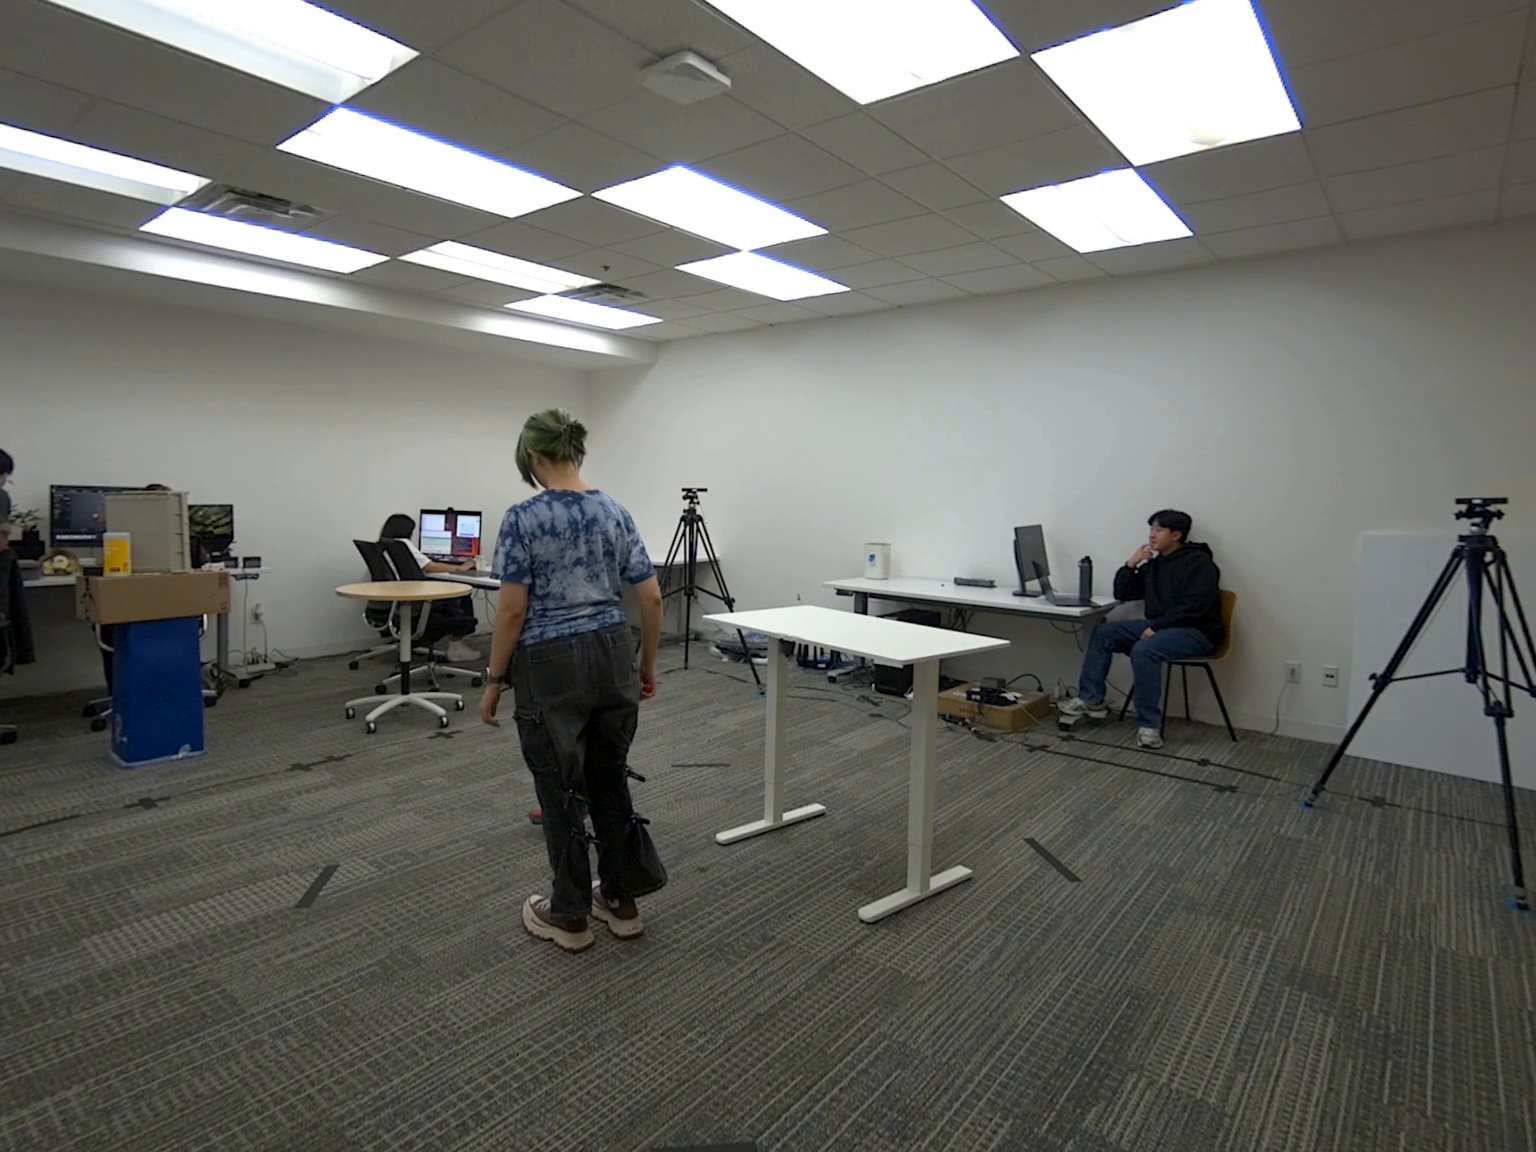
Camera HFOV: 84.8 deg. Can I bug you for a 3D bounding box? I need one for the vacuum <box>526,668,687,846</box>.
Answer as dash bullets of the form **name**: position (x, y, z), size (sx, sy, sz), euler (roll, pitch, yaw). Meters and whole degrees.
- **vacuum**: position (-0.623, 0.687, 3.073), size (0.246, 0.149, 1.043), euler (-7, -32, -36)
